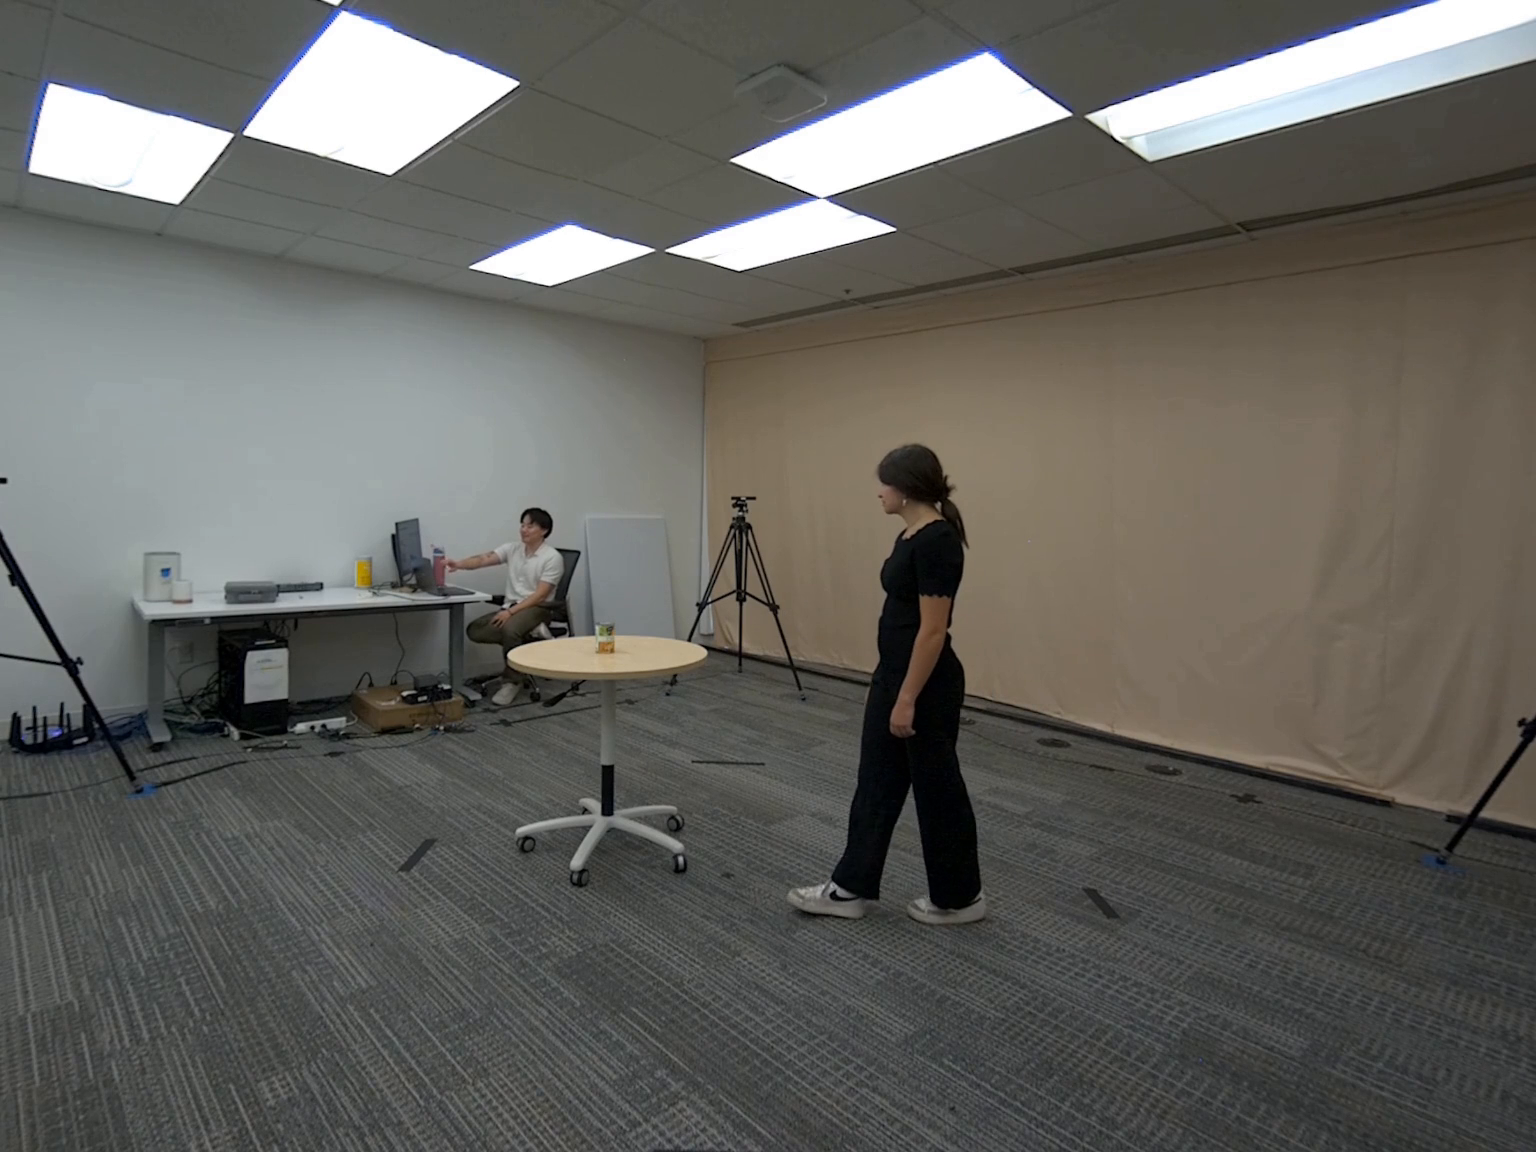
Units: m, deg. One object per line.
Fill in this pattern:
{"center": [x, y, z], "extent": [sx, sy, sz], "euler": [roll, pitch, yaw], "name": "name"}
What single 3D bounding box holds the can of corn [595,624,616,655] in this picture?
{"center": [-0.643, 0.242, 3.261], "extent": [0.074, 0.111, 0.074], "euler": [0, 1, -1], "name": "can of corn"}
